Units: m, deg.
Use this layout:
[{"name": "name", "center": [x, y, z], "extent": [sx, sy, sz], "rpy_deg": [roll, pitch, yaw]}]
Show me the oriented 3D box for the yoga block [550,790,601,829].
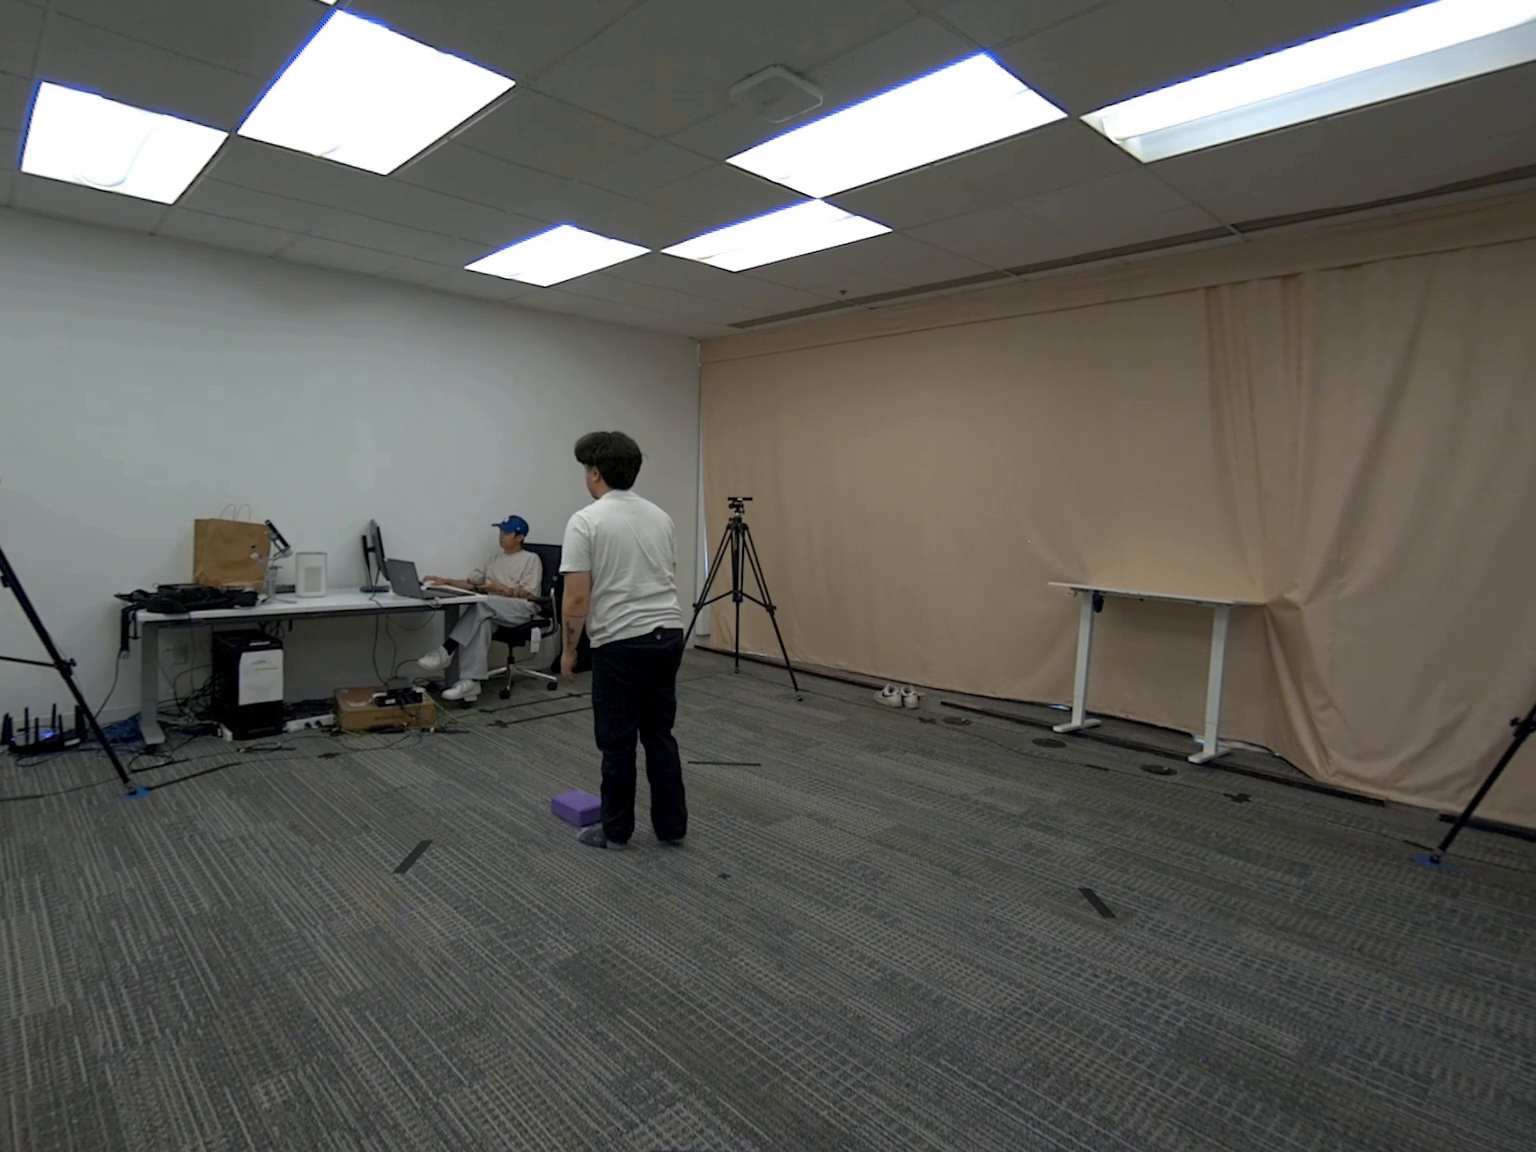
[{"name": "yoga block", "center": [-0.823, 1.002, 3.647], "extent": [0.235, 0.076, 0.146], "rpy_deg": [6, 7, 44]}]
